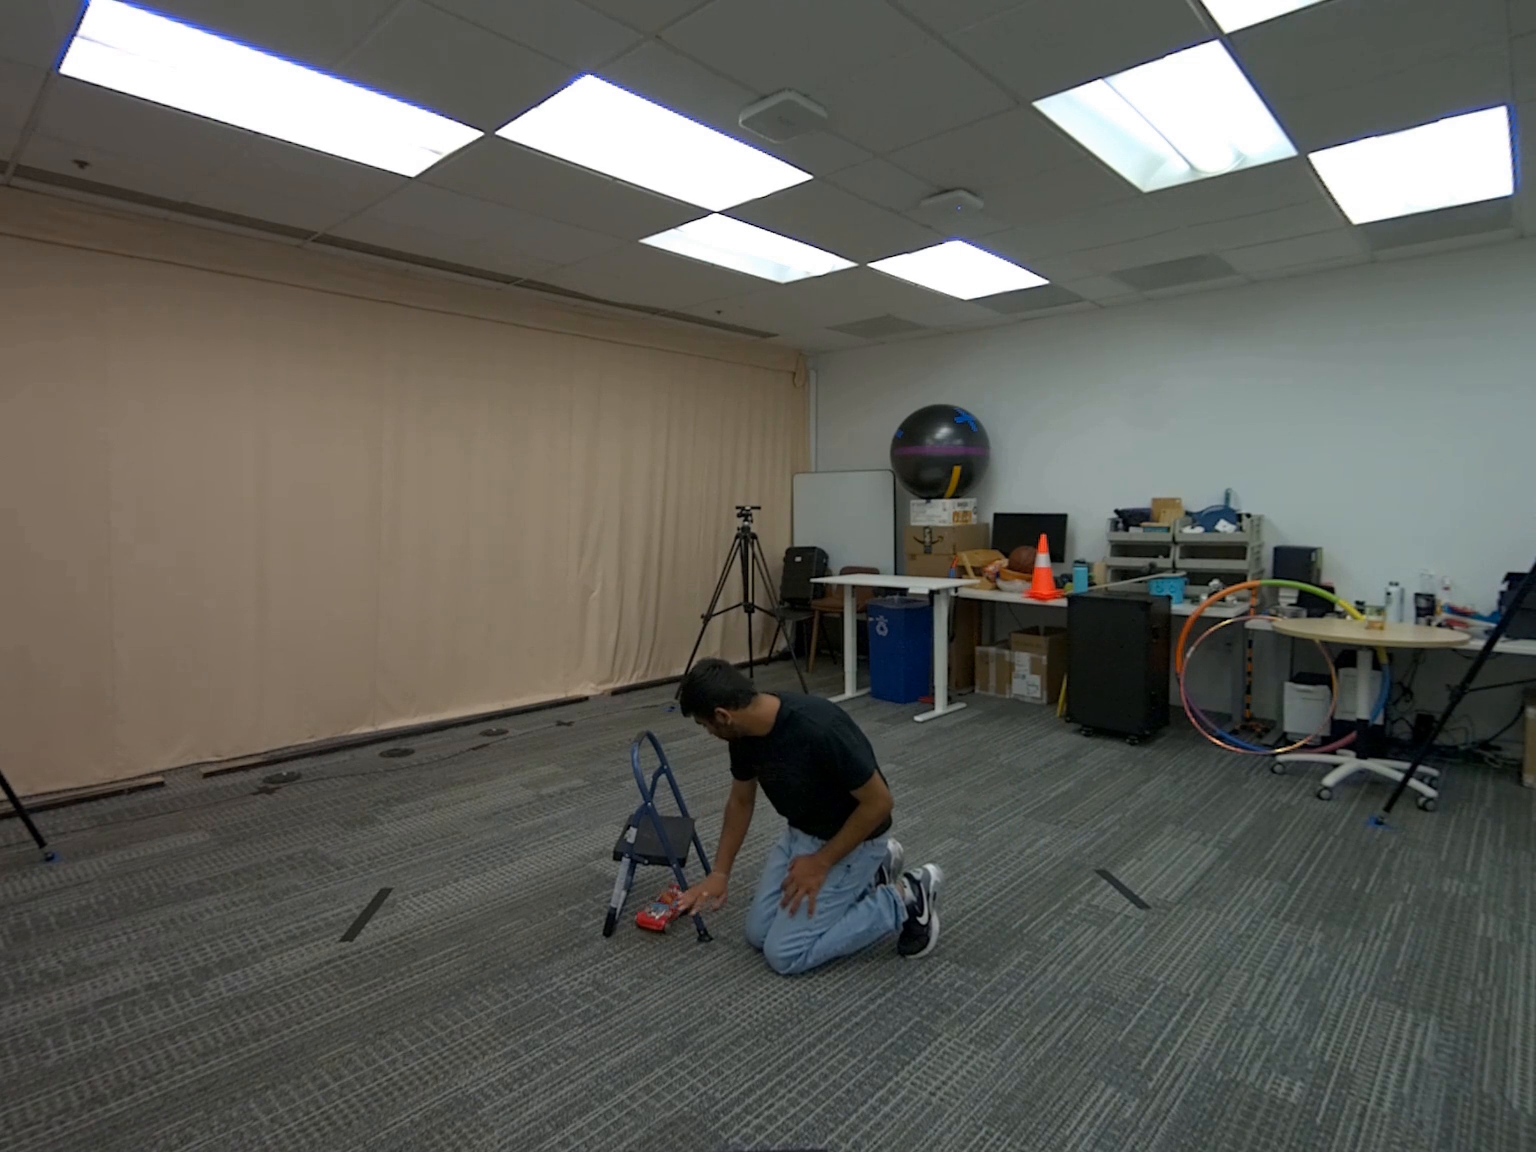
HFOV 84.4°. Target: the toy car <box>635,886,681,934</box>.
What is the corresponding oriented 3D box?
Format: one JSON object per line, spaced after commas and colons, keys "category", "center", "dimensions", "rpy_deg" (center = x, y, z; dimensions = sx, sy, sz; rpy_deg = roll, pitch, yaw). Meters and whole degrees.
{"category": "toy car", "center": [-0.338, 1.128, 2.839], "dimensions": [0.134, 0.082, 0.250], "rpy_deg": [1, 17, 27]}
